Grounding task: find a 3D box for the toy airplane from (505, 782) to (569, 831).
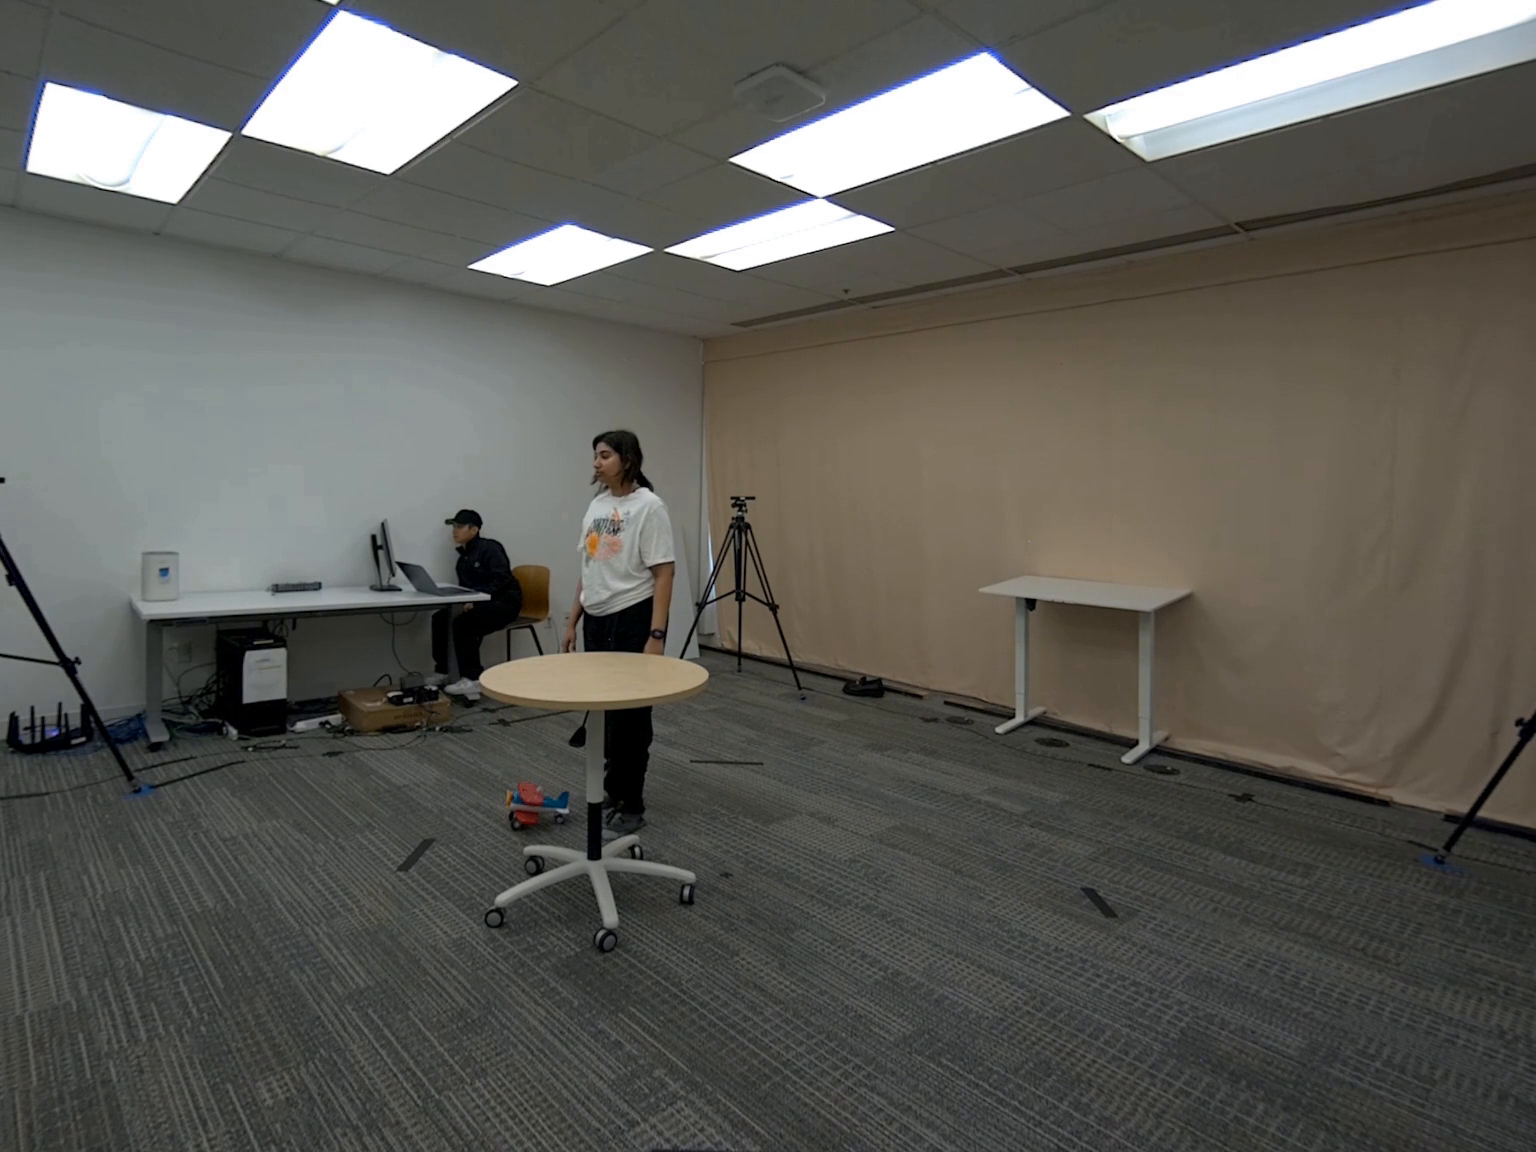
[{"bbox_3d":[-0.996,0.973,3.558,0.257,0.156,0.253,5,7,41],"label":"toy airplane"}]
